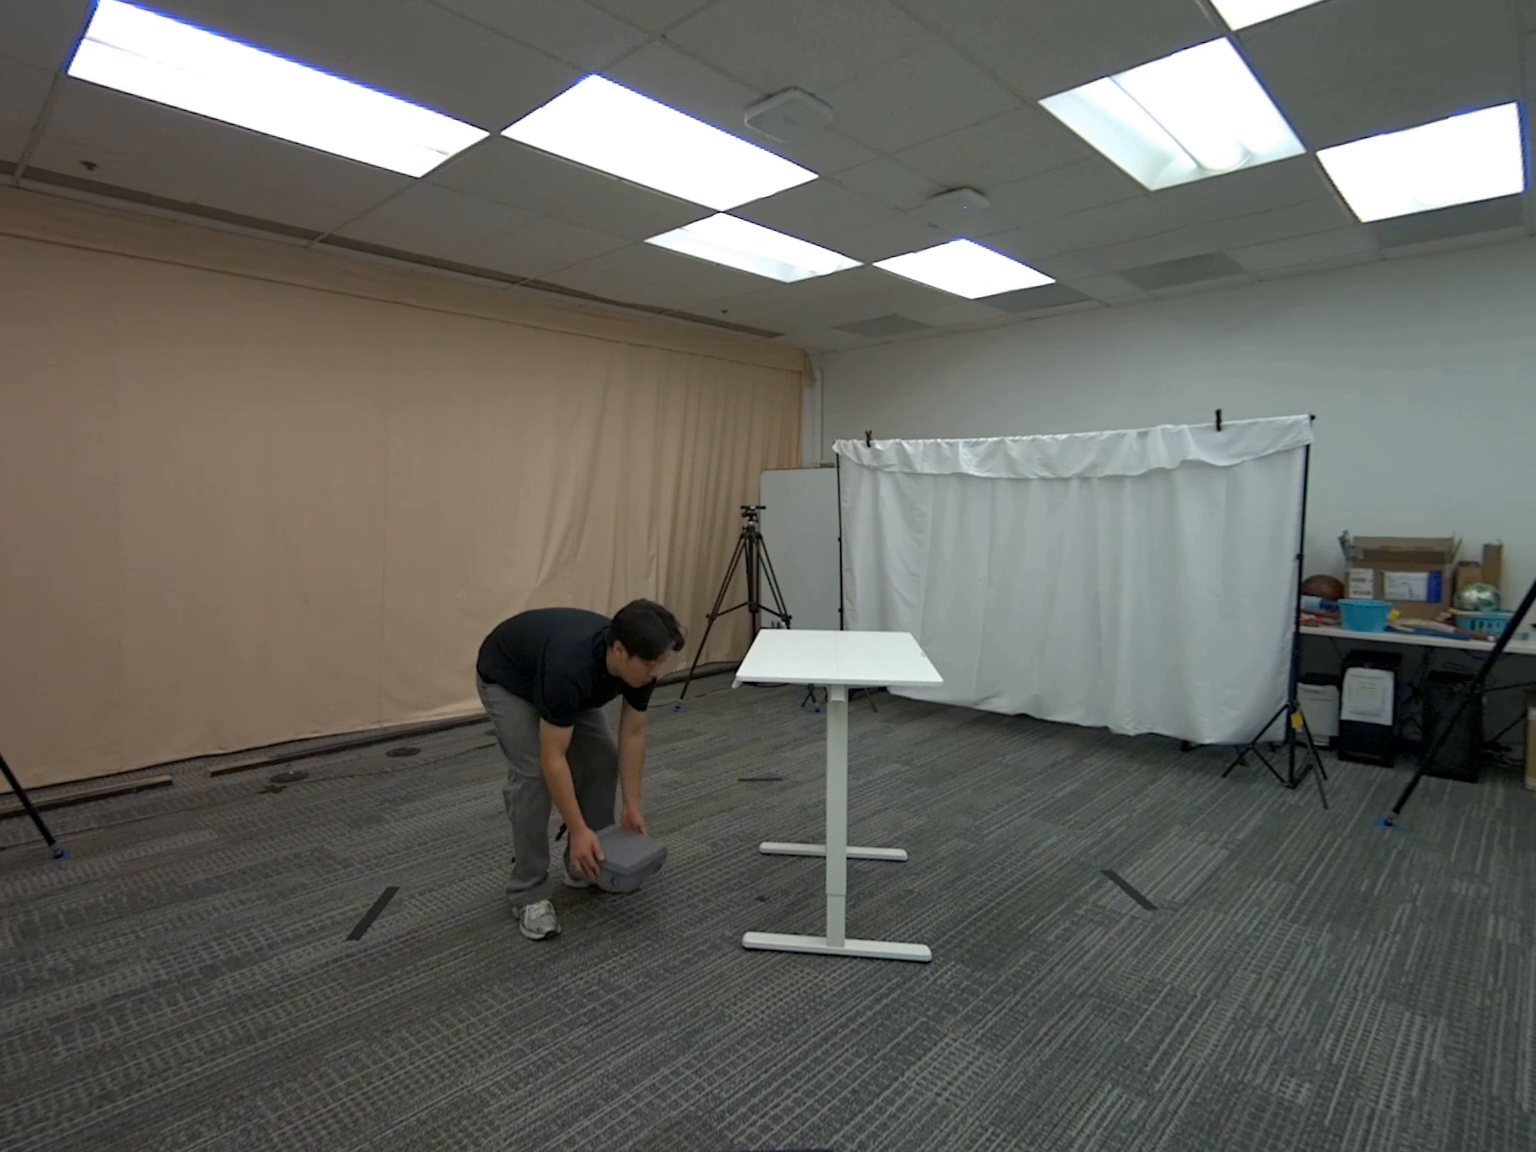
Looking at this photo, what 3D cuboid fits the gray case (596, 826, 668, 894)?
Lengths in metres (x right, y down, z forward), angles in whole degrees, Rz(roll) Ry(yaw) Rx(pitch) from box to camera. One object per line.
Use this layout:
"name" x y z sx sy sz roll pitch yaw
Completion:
"gray case" -0.483 0.929 2.797 0.295 0.103 0.256 8 6 27
